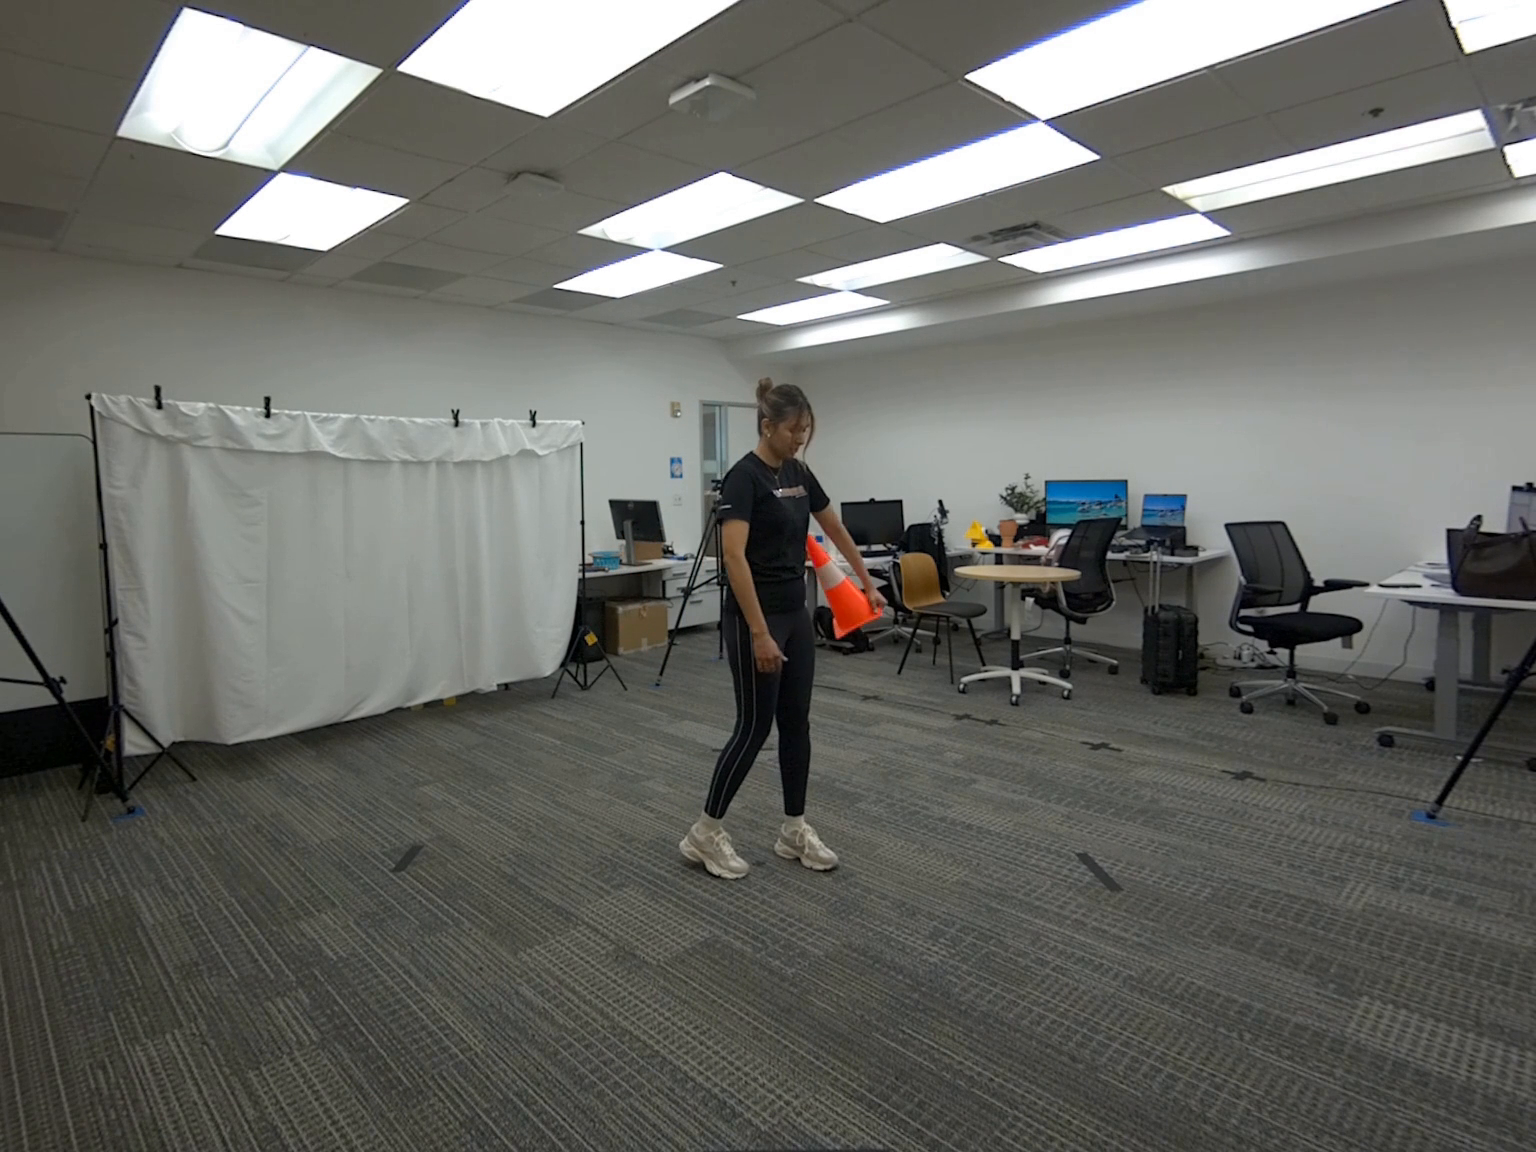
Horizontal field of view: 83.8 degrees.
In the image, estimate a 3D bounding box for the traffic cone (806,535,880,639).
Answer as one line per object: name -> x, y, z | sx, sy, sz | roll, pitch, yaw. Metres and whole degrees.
traffic cone -> 0.249, 0.001, 3.240 | 0.205, 0.378, 0.206 | -30, 13, 7
